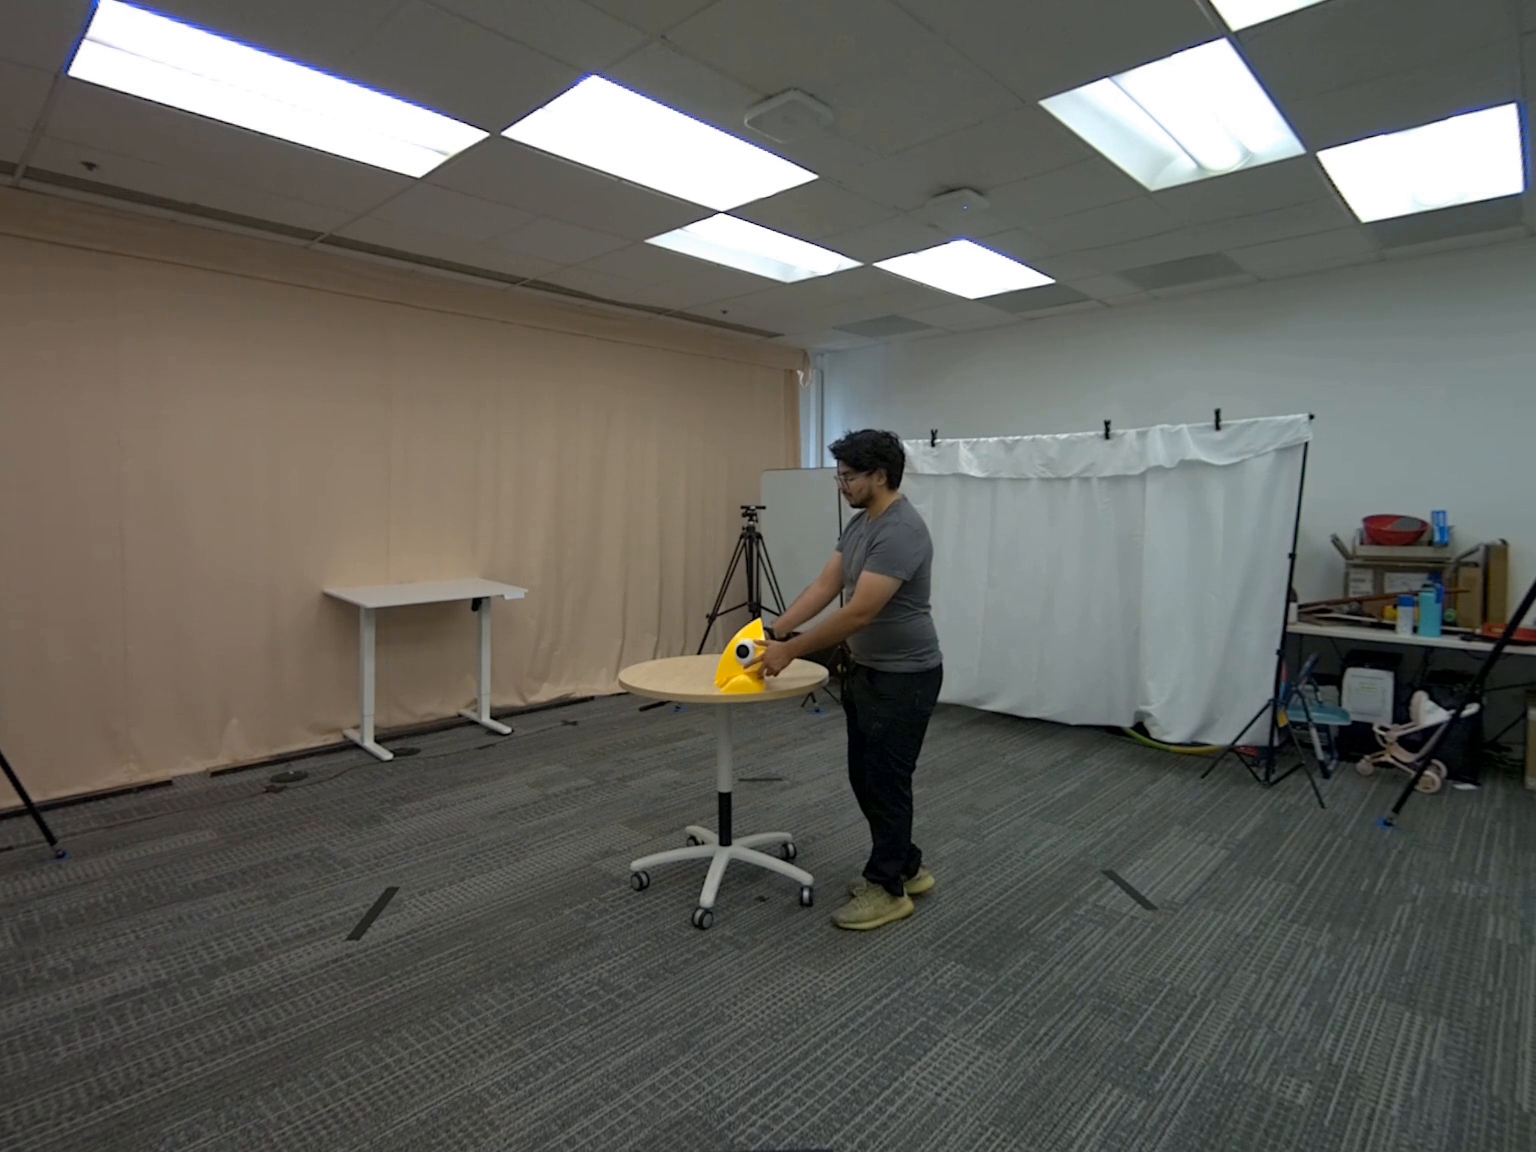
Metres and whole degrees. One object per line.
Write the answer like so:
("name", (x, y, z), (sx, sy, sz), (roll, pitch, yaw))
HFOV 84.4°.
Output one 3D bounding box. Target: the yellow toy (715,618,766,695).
("yellow toy", (-0.077, 0.259, 2.815), (0.191, 0.230, 0.207), (-2, 2, -11))
